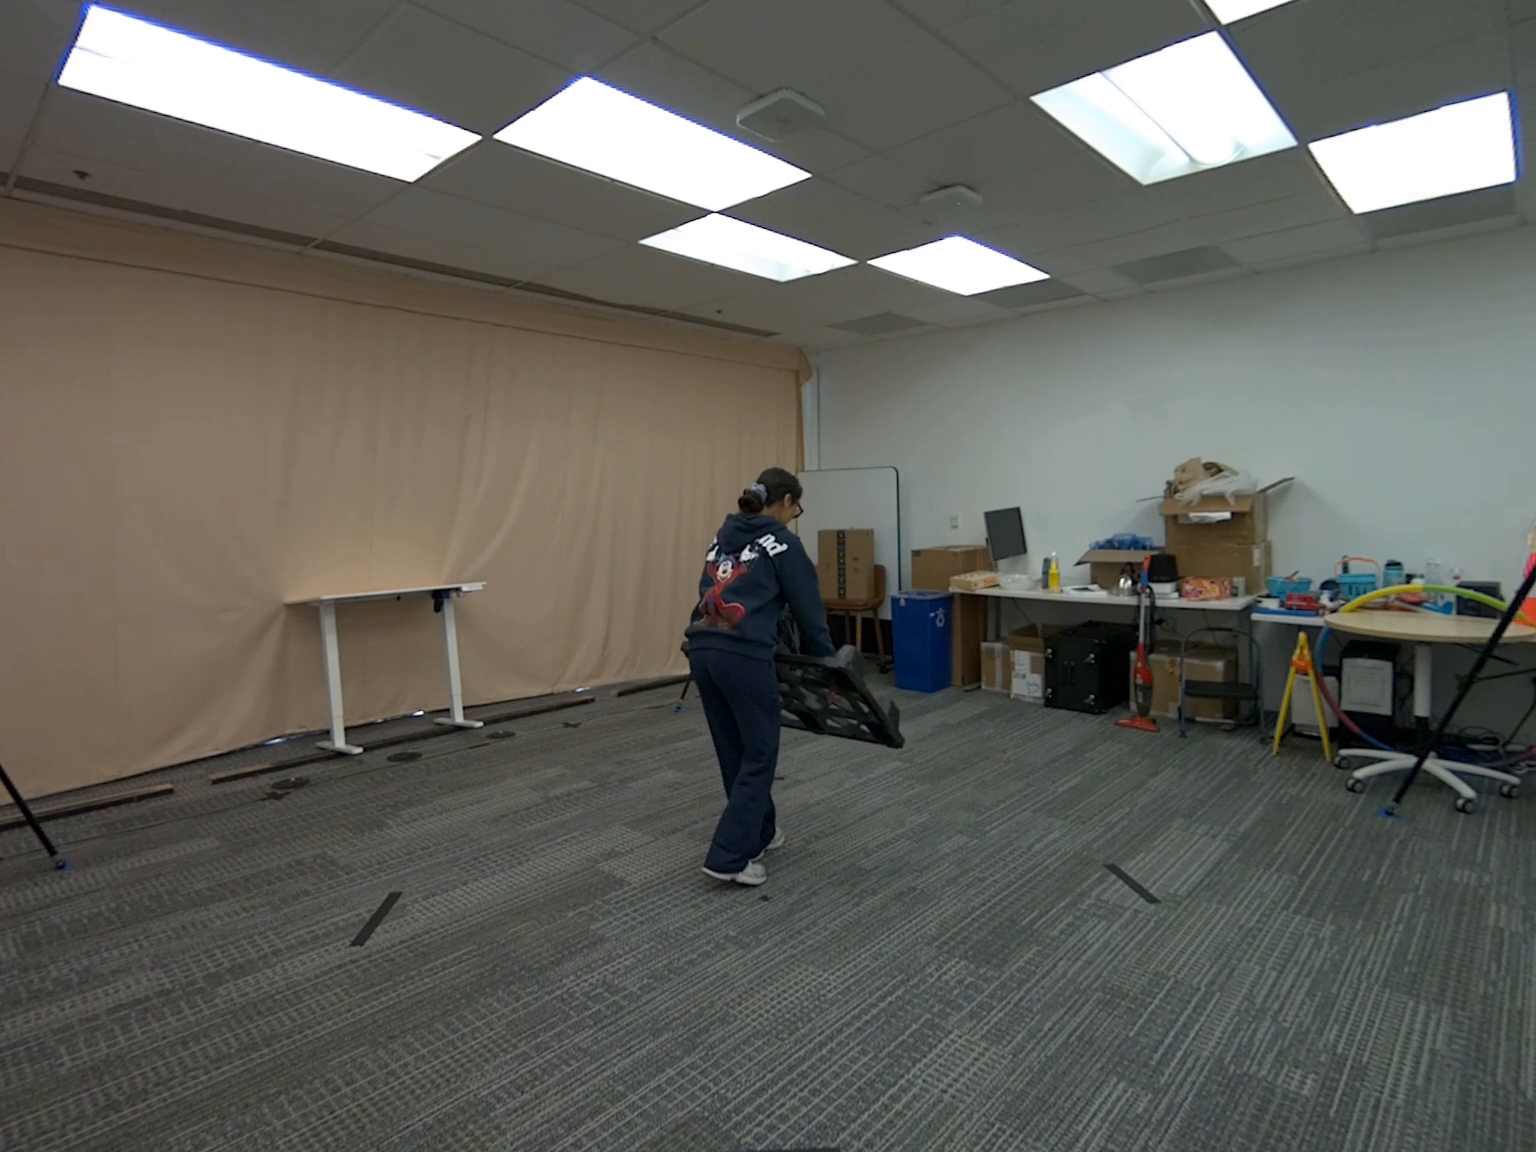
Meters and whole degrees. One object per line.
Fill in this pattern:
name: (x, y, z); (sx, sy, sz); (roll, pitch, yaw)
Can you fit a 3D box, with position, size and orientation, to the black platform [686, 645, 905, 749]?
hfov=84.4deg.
black platform: (0.106, 0.438, 3.454); (0.831, 0.143, 0.585); (2, -38, 38)
